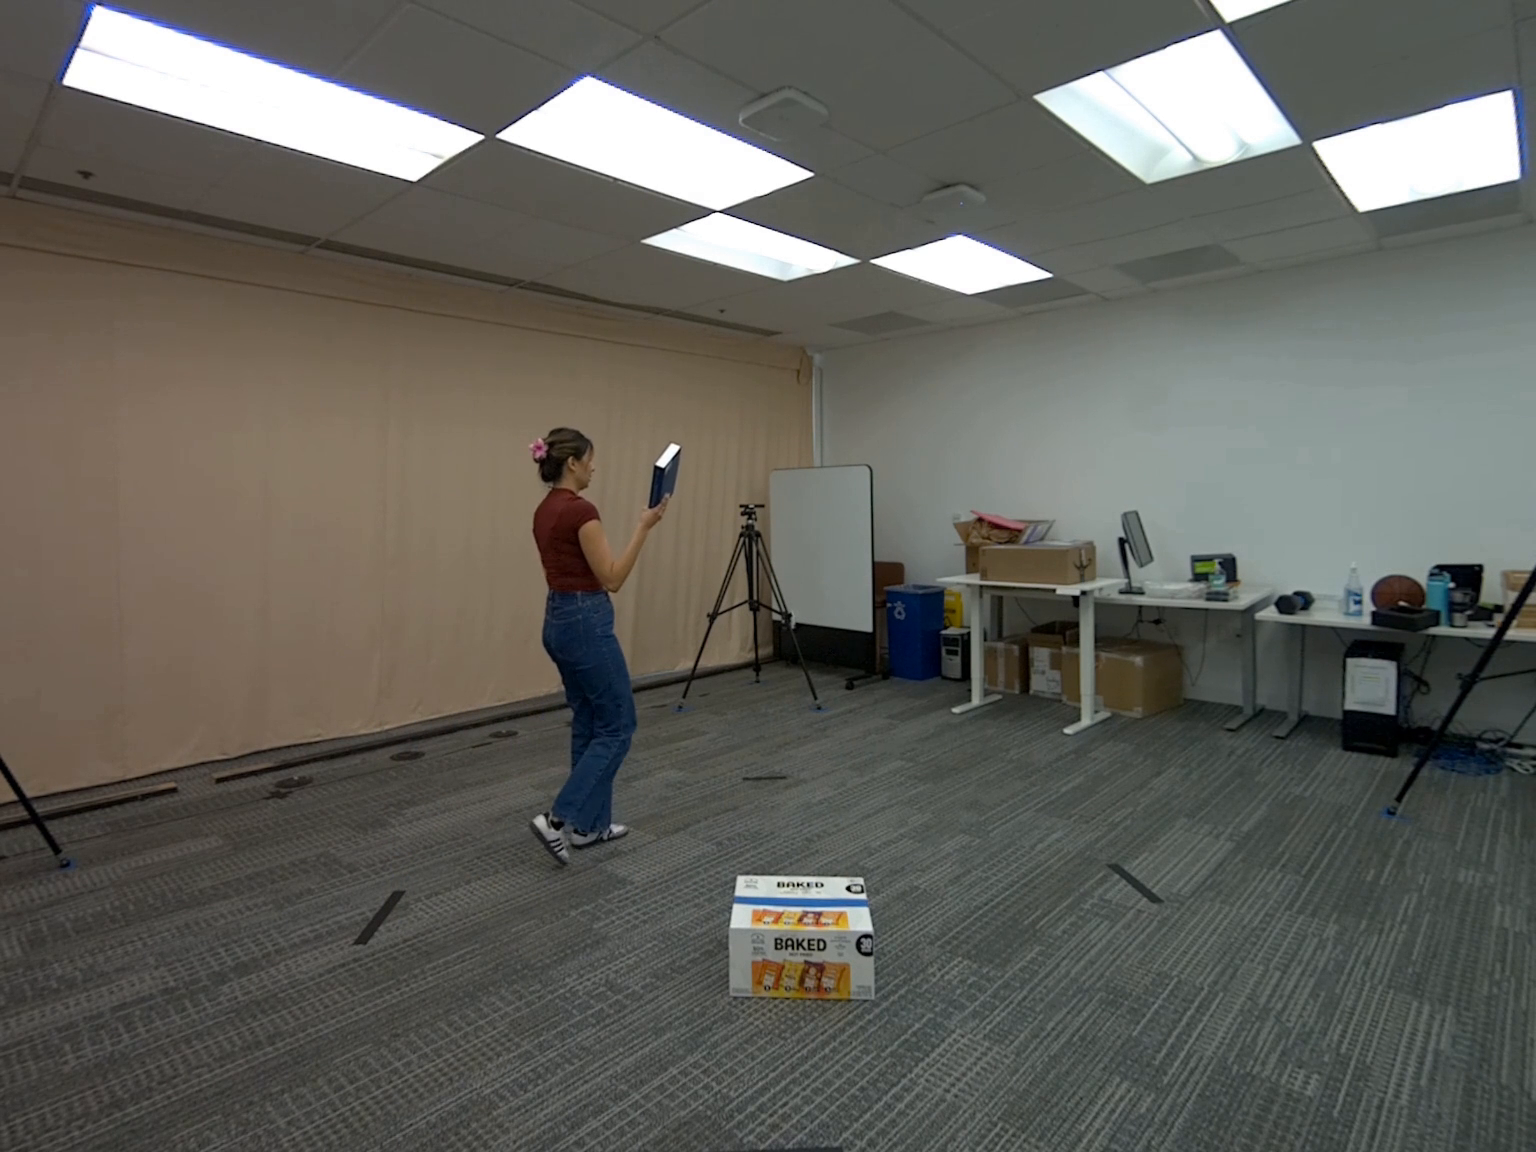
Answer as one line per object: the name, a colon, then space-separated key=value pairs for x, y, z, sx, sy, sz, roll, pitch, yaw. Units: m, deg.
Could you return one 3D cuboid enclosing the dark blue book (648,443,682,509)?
dark blue book: x=-0.399 y=-0.374 z=3.246 sx=0.045 sy=0.243 sz=0.163 roll=23 pitch=44 yaw=5
